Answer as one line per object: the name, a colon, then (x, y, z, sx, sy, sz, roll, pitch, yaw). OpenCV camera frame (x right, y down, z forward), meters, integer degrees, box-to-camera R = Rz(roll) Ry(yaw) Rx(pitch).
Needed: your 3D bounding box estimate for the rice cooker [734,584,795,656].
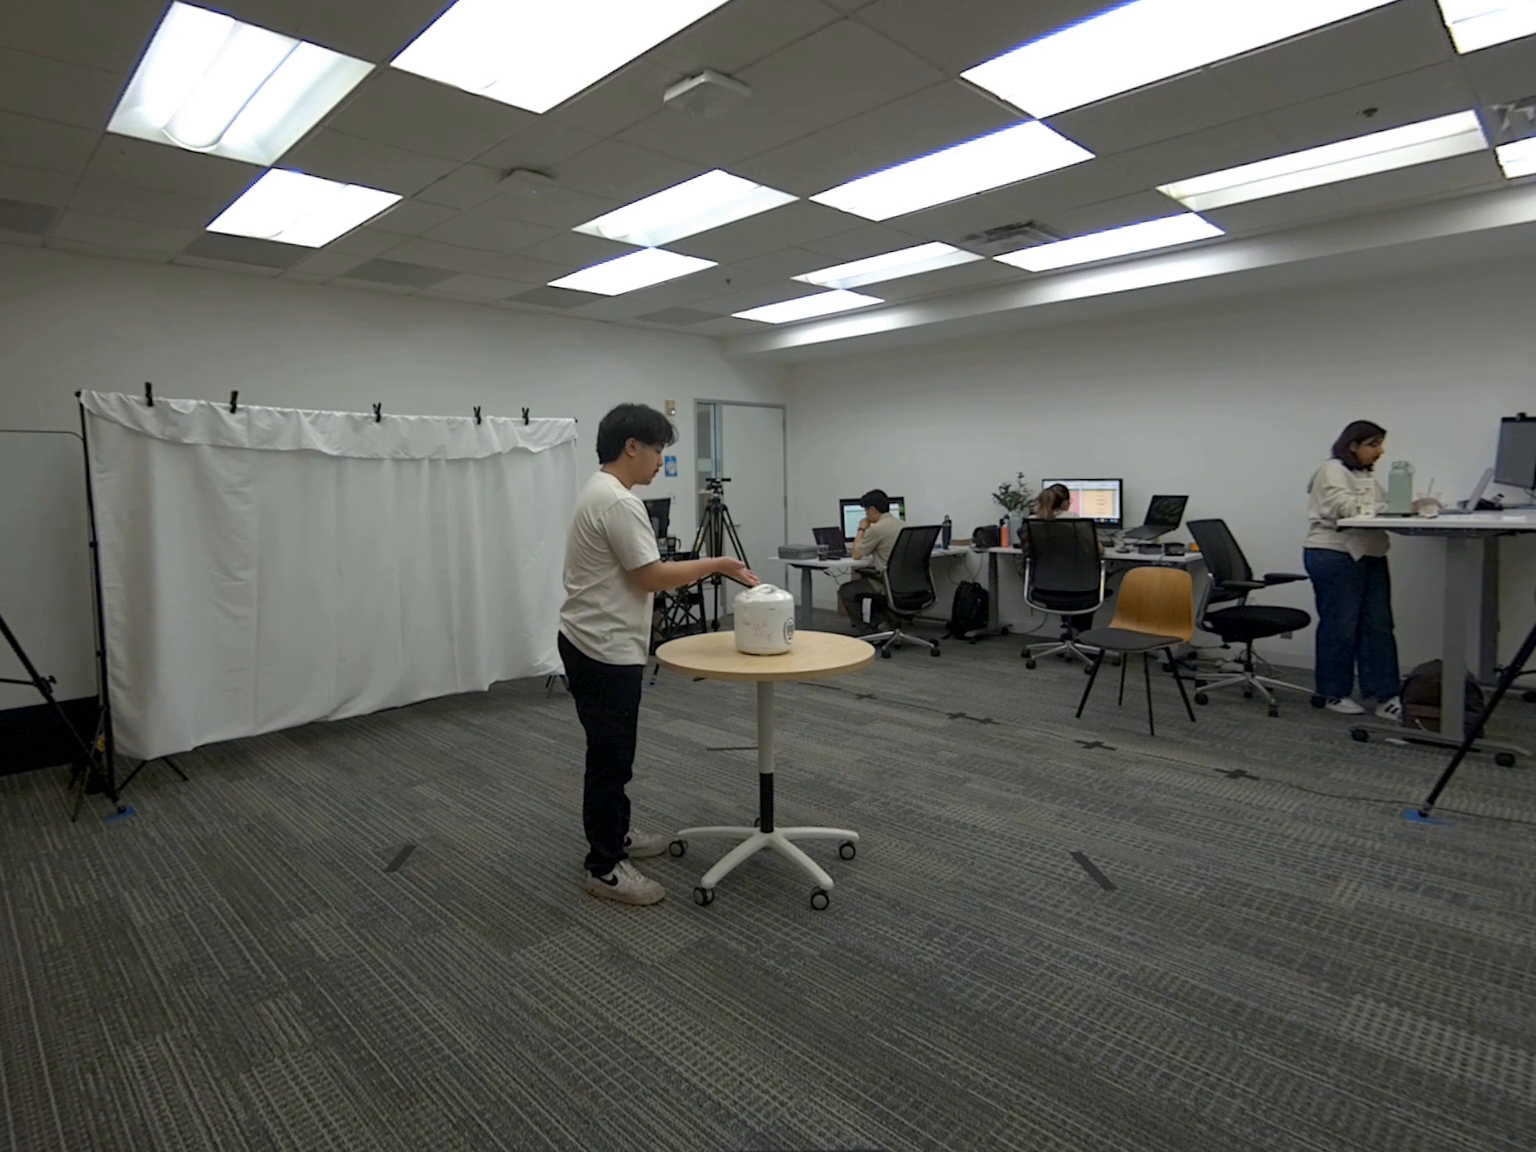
rice cooker: (-0.009, 0.140, 2.952, 0.224, 0.232, 0.215, 1, 5, 38)
